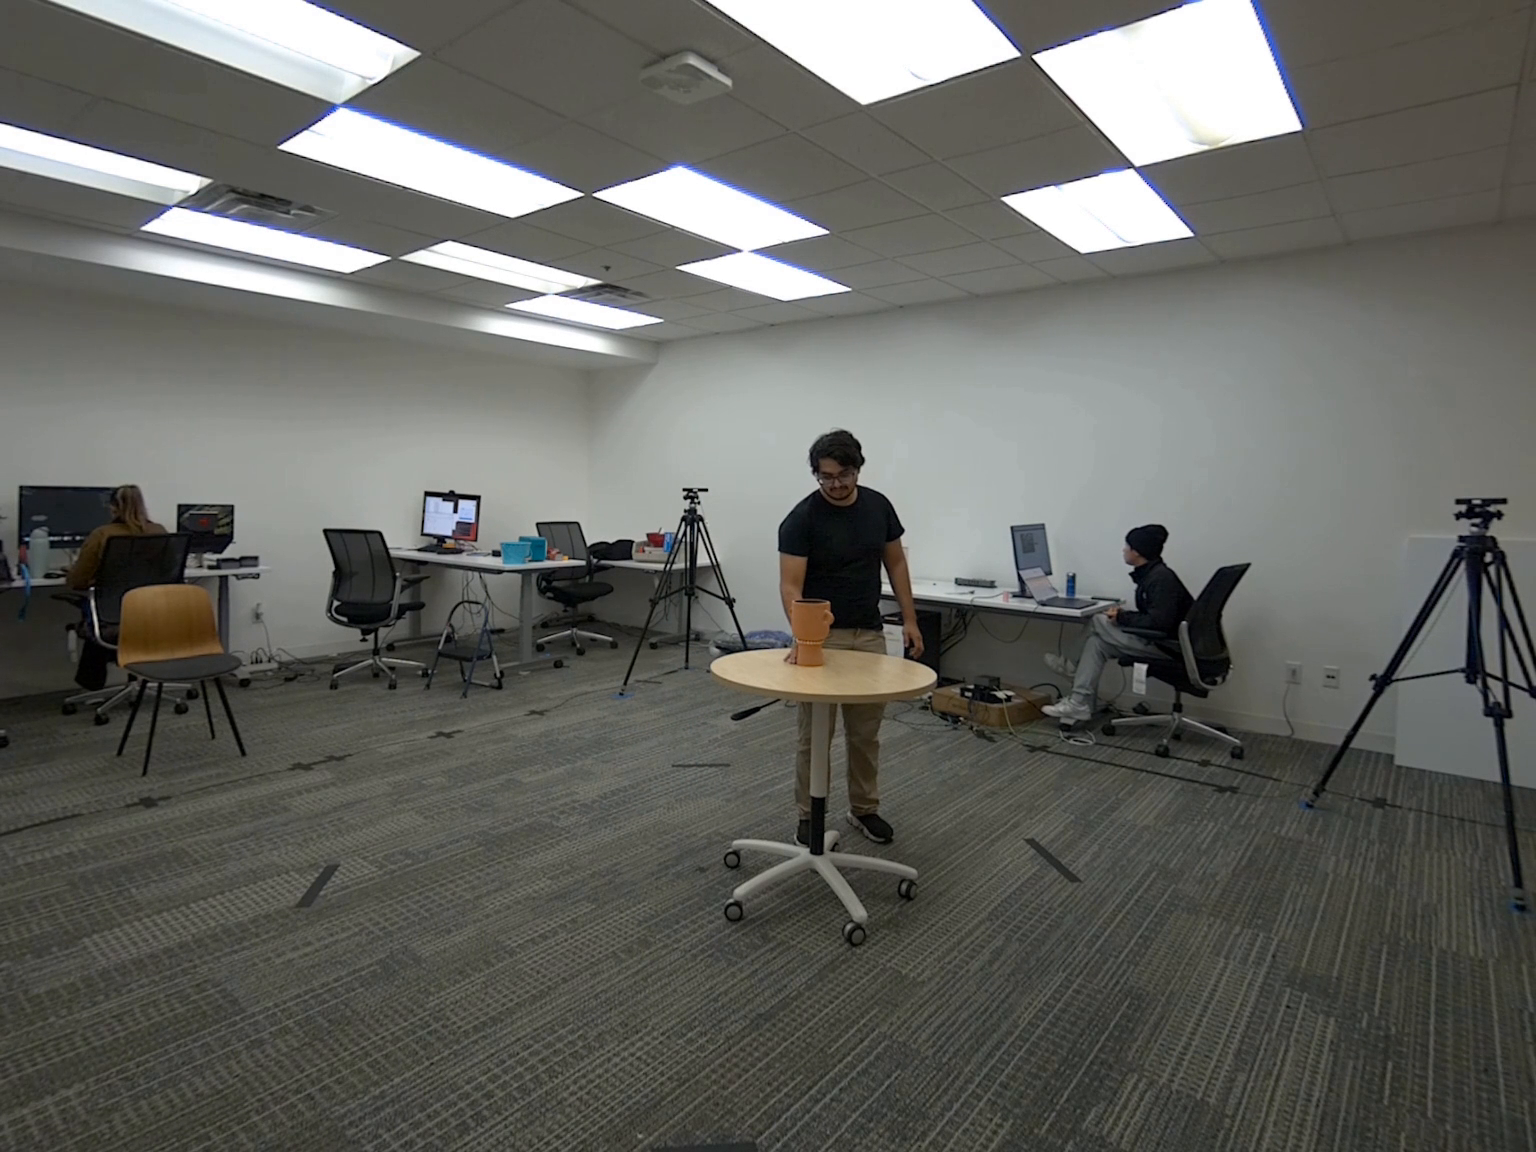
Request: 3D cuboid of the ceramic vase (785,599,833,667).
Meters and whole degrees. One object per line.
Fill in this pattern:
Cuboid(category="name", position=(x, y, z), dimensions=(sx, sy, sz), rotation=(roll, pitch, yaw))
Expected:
Cuboid(category="ceramic vase", position=(0.139, 0.201, 2.991), dimensions=(0.133, 0.219, 0.161), rotation=(4, 5, -9))
